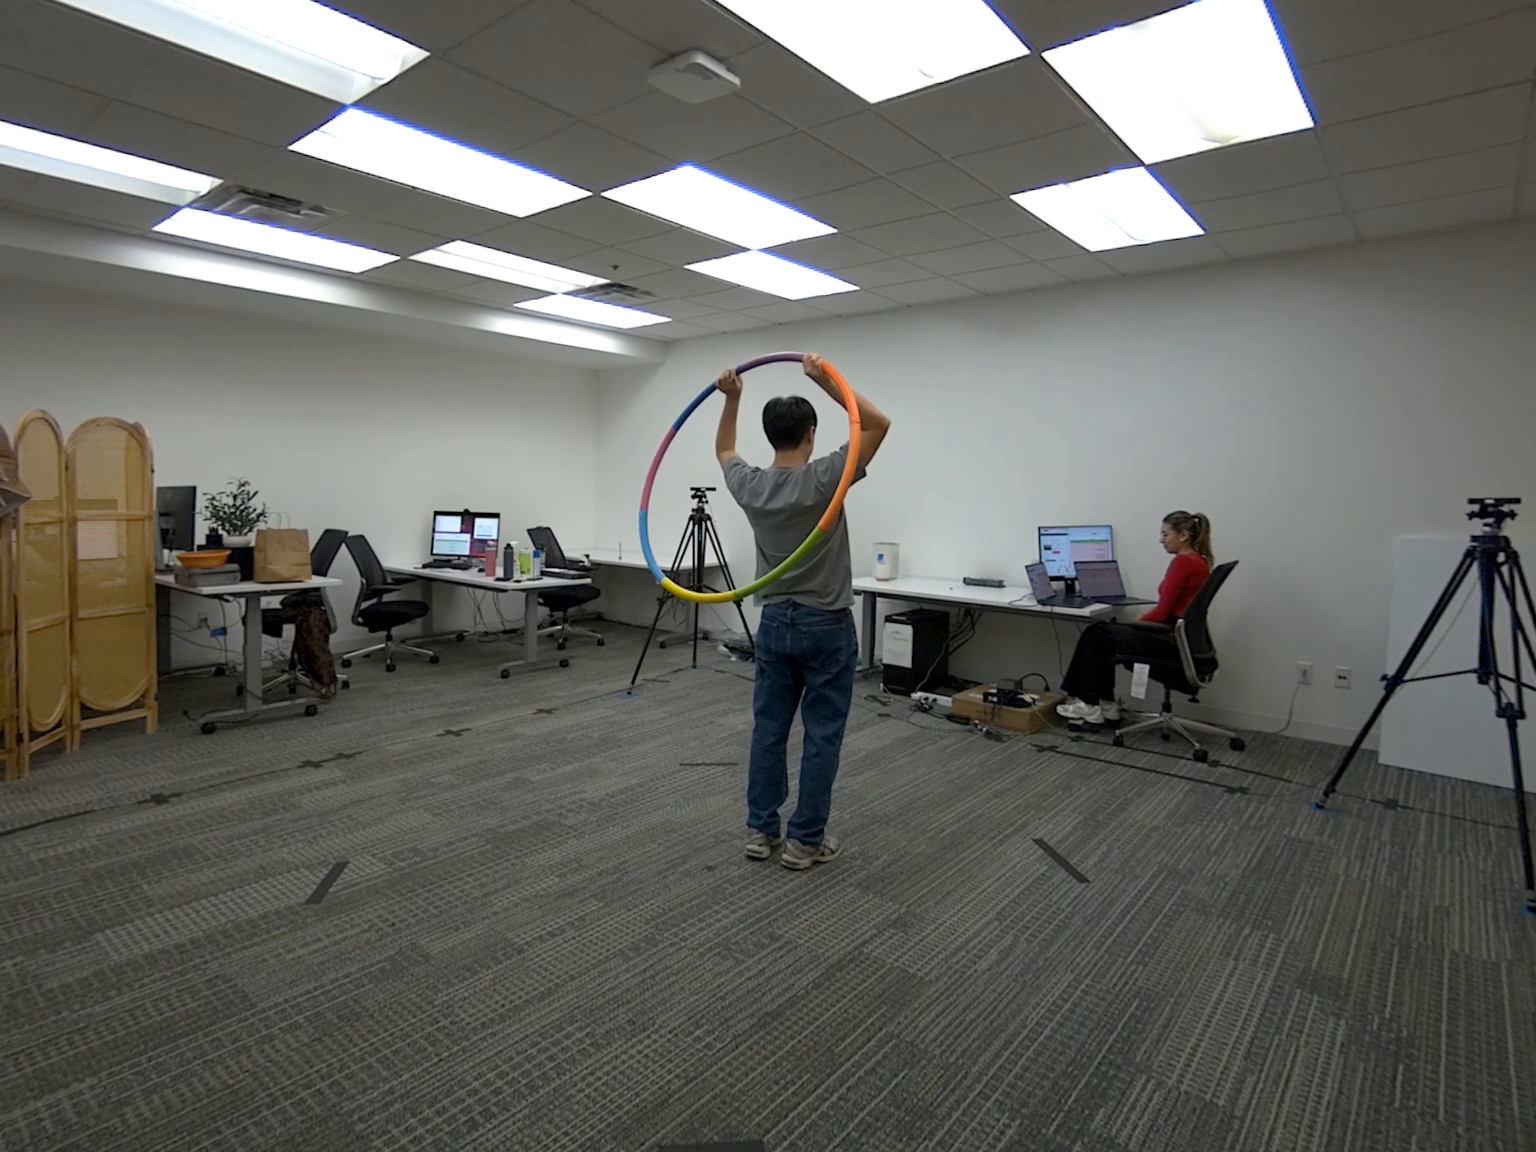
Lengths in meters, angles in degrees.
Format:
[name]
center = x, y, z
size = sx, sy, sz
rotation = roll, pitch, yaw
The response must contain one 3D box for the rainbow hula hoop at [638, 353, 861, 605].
[rainbow hula hoop]
center = -0.095, -0.369, 3.070
size = 1.012, 0.986, 0.034
rotation = 5, -18, 43
